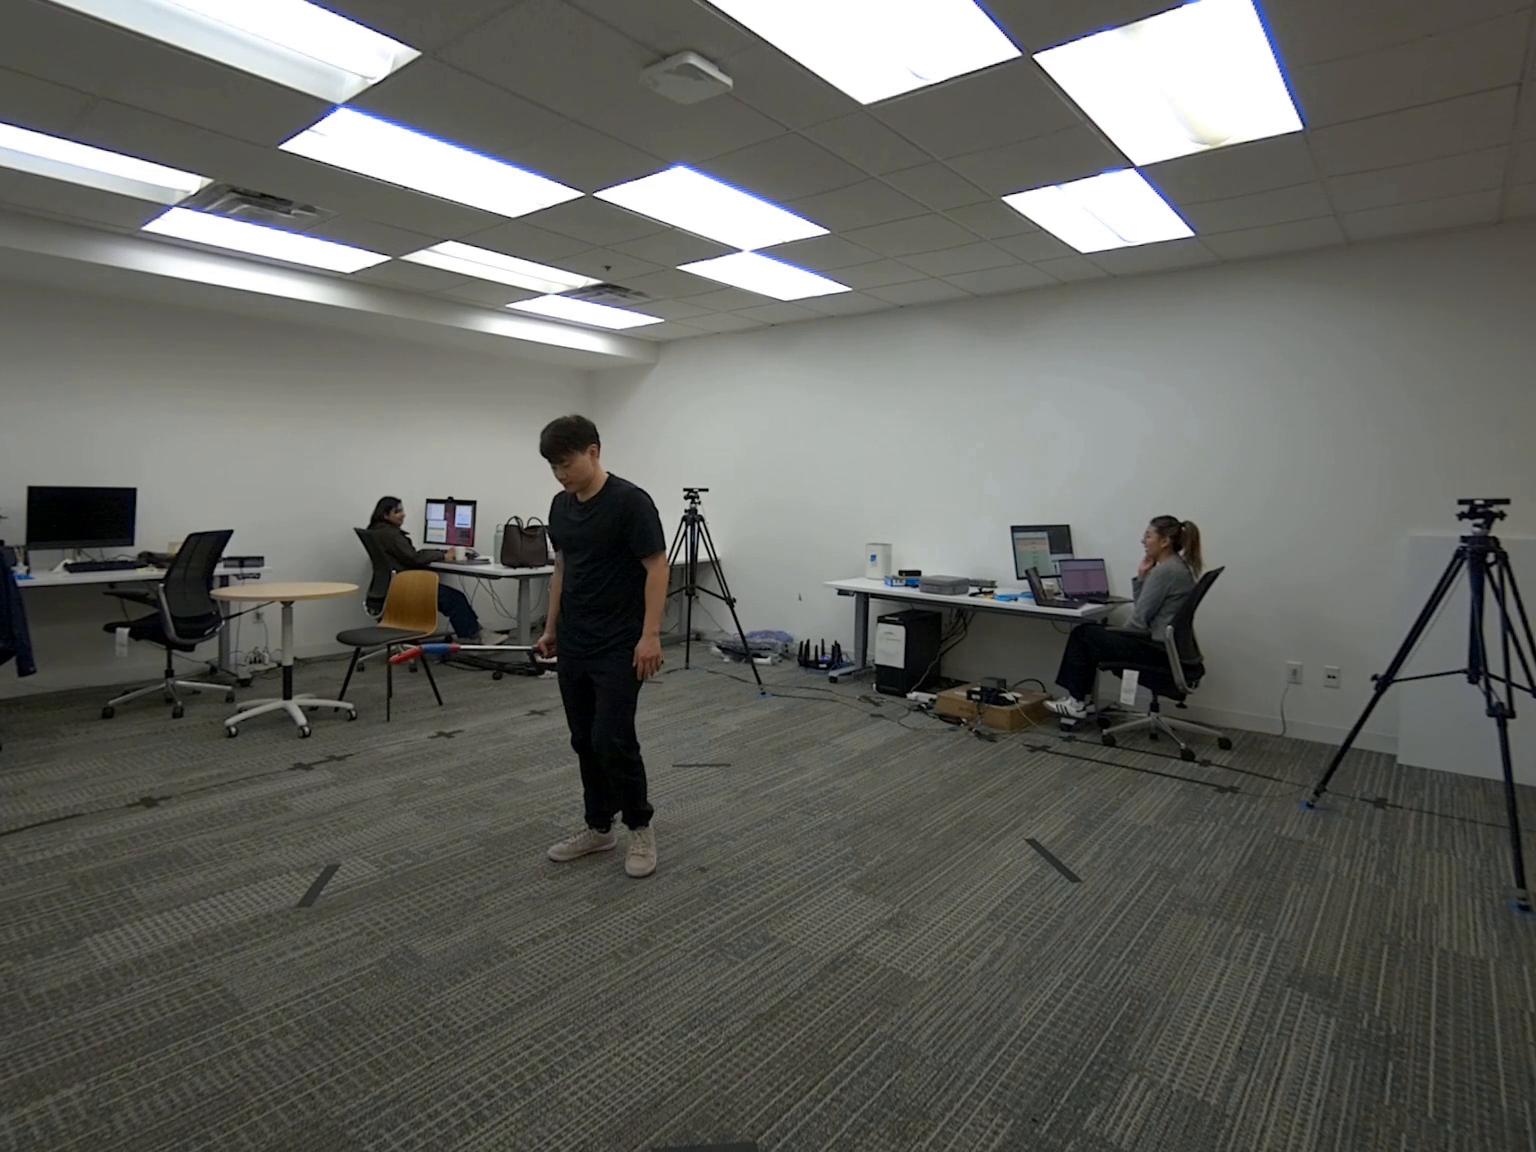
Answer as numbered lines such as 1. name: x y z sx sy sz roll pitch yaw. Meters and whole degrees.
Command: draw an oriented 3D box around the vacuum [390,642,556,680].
1. vacuum: -0.942 0.325 3.294 1.014 0.143 0.263 4 18 -41
